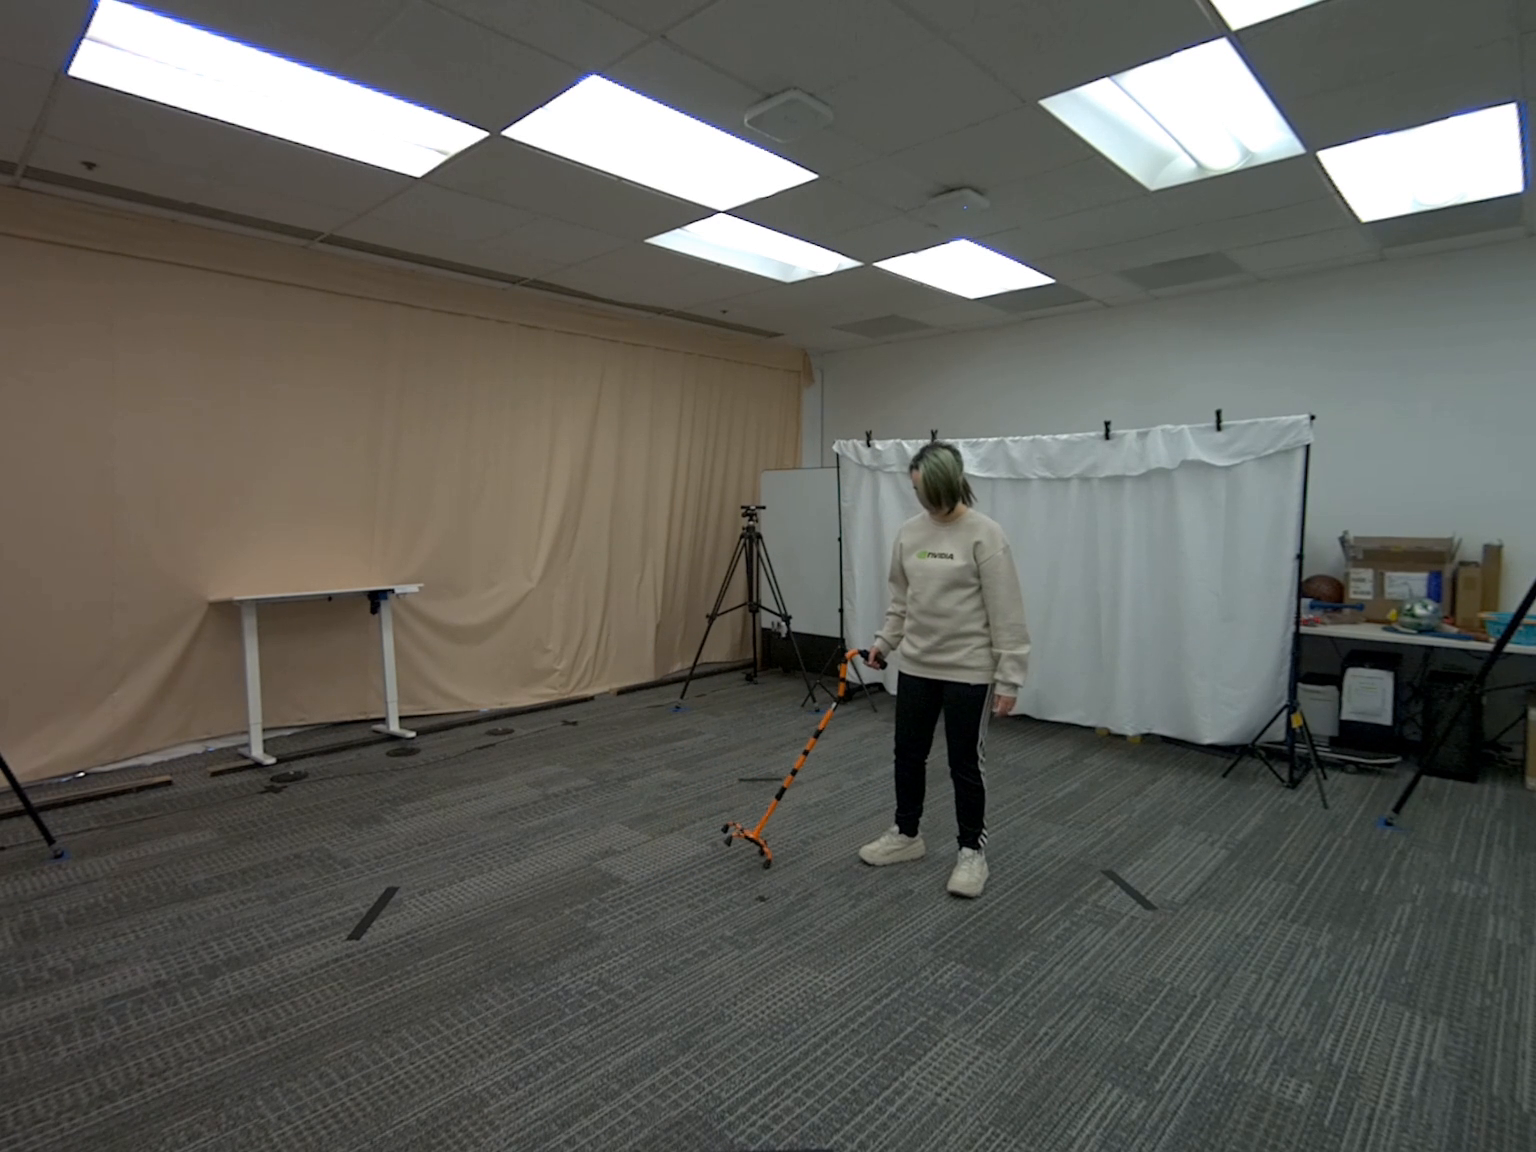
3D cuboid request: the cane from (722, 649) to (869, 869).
[{"bbox_3d":[0.141,0.683,3.287,0.205,0.908,0.153,30,0,-7],"label":"cane"}]
